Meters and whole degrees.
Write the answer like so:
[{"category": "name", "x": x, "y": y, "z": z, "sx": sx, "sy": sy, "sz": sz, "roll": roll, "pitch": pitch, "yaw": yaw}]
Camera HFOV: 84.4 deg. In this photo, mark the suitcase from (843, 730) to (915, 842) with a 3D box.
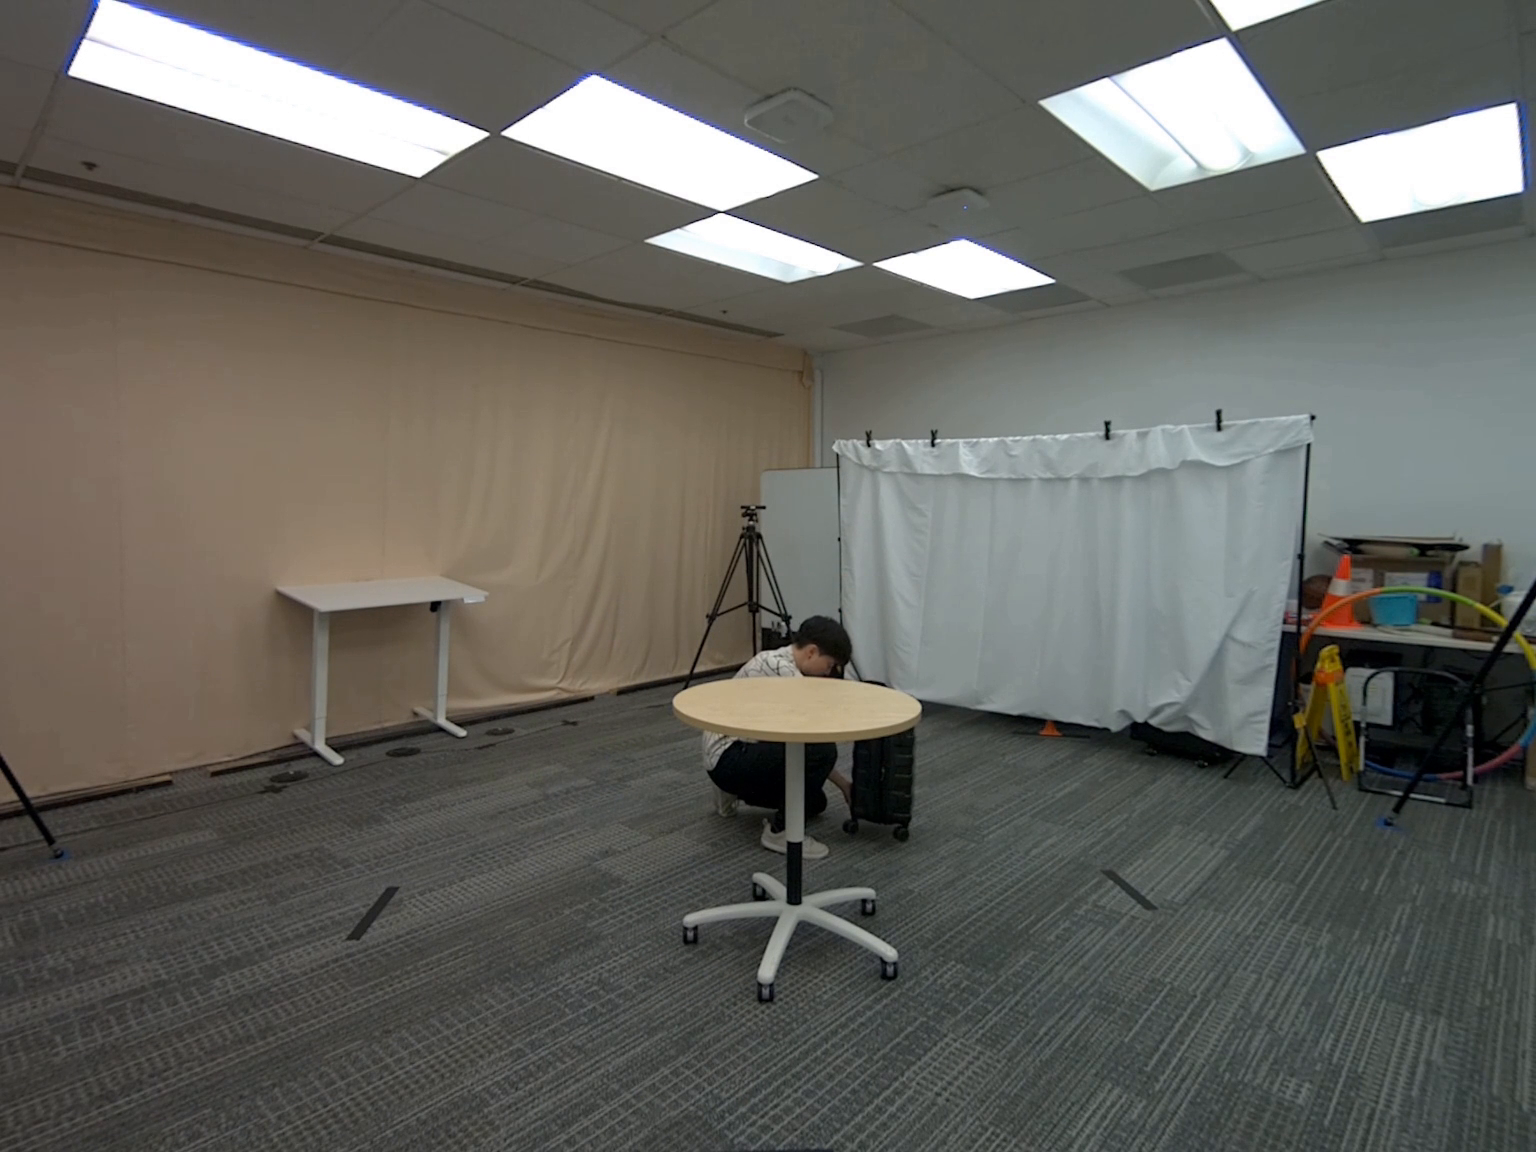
[{"category": "suitcase", "x": 0.491, "y": 0.778, "z": 3.552, "sx": 0.252, "sy": 0.548, "sz": 0.370, "roll": 4, "pitch": 3, "yaw": 14}]
